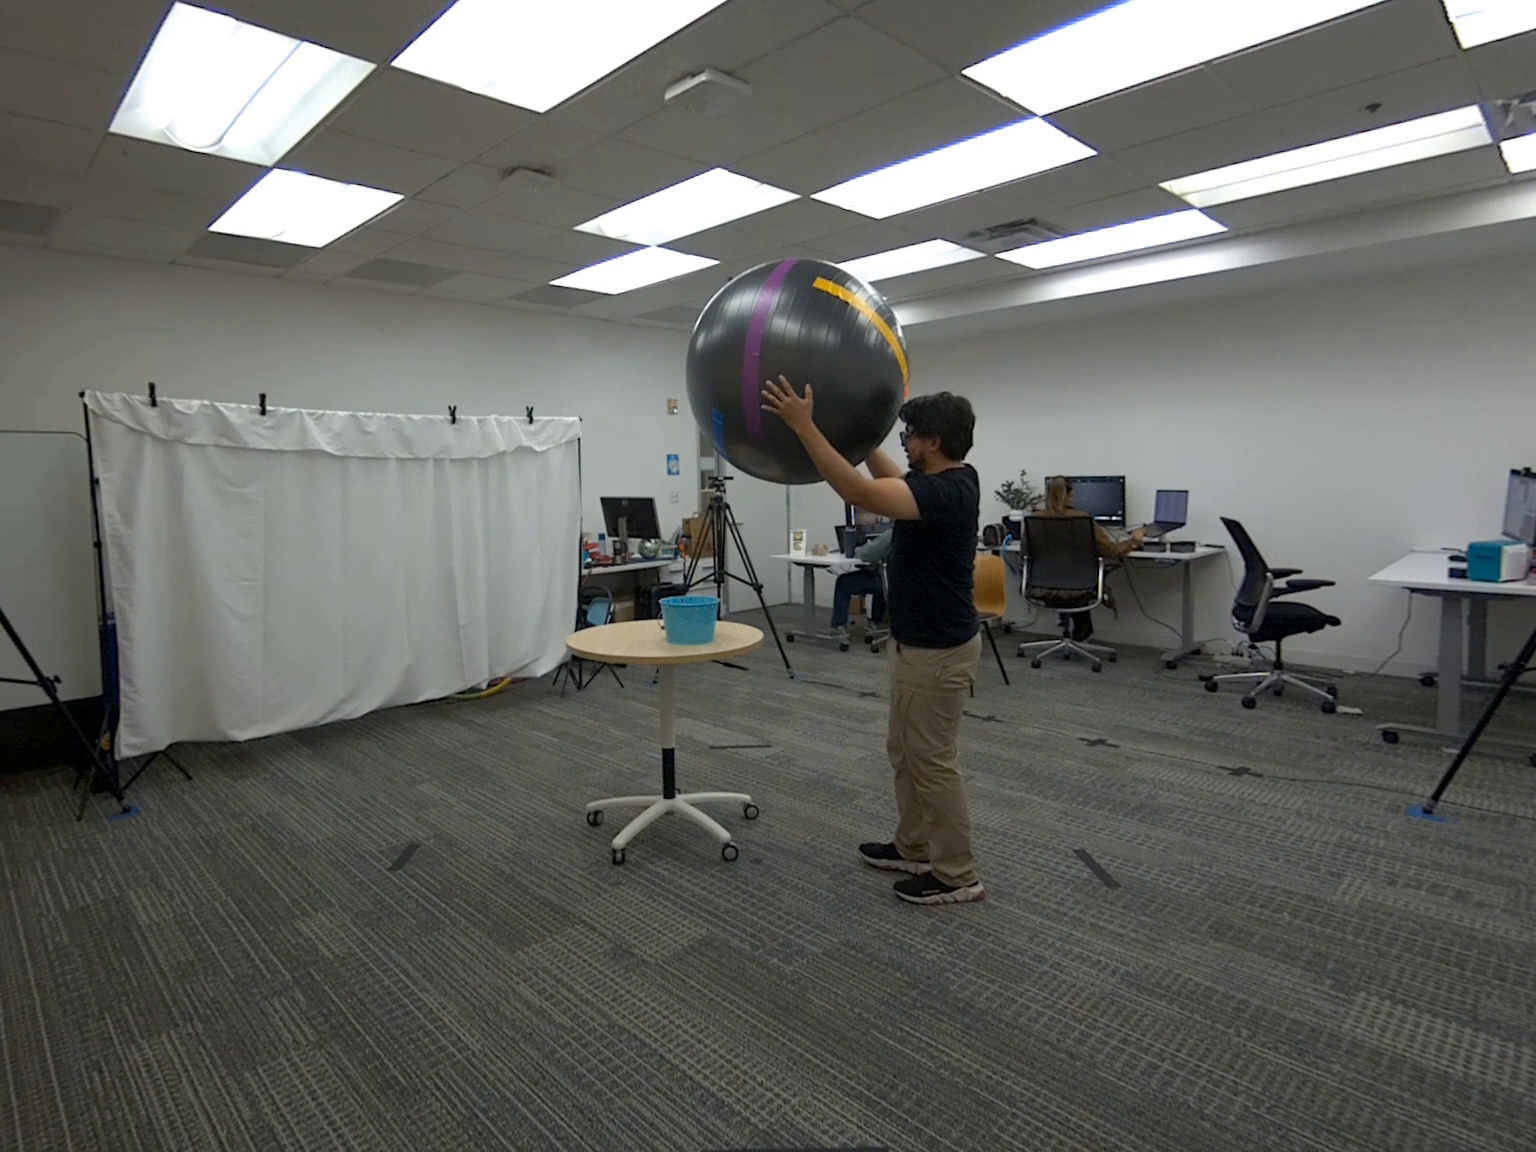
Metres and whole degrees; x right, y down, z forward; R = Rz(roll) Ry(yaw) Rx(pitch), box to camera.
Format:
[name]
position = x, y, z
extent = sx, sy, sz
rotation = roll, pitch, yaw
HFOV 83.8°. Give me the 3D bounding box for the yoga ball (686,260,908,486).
[yoga ball]
position = 0.094, -0.688, 2.931
extent = 0.757, 0.755, 0.762
rotation = -1, 5, -2
